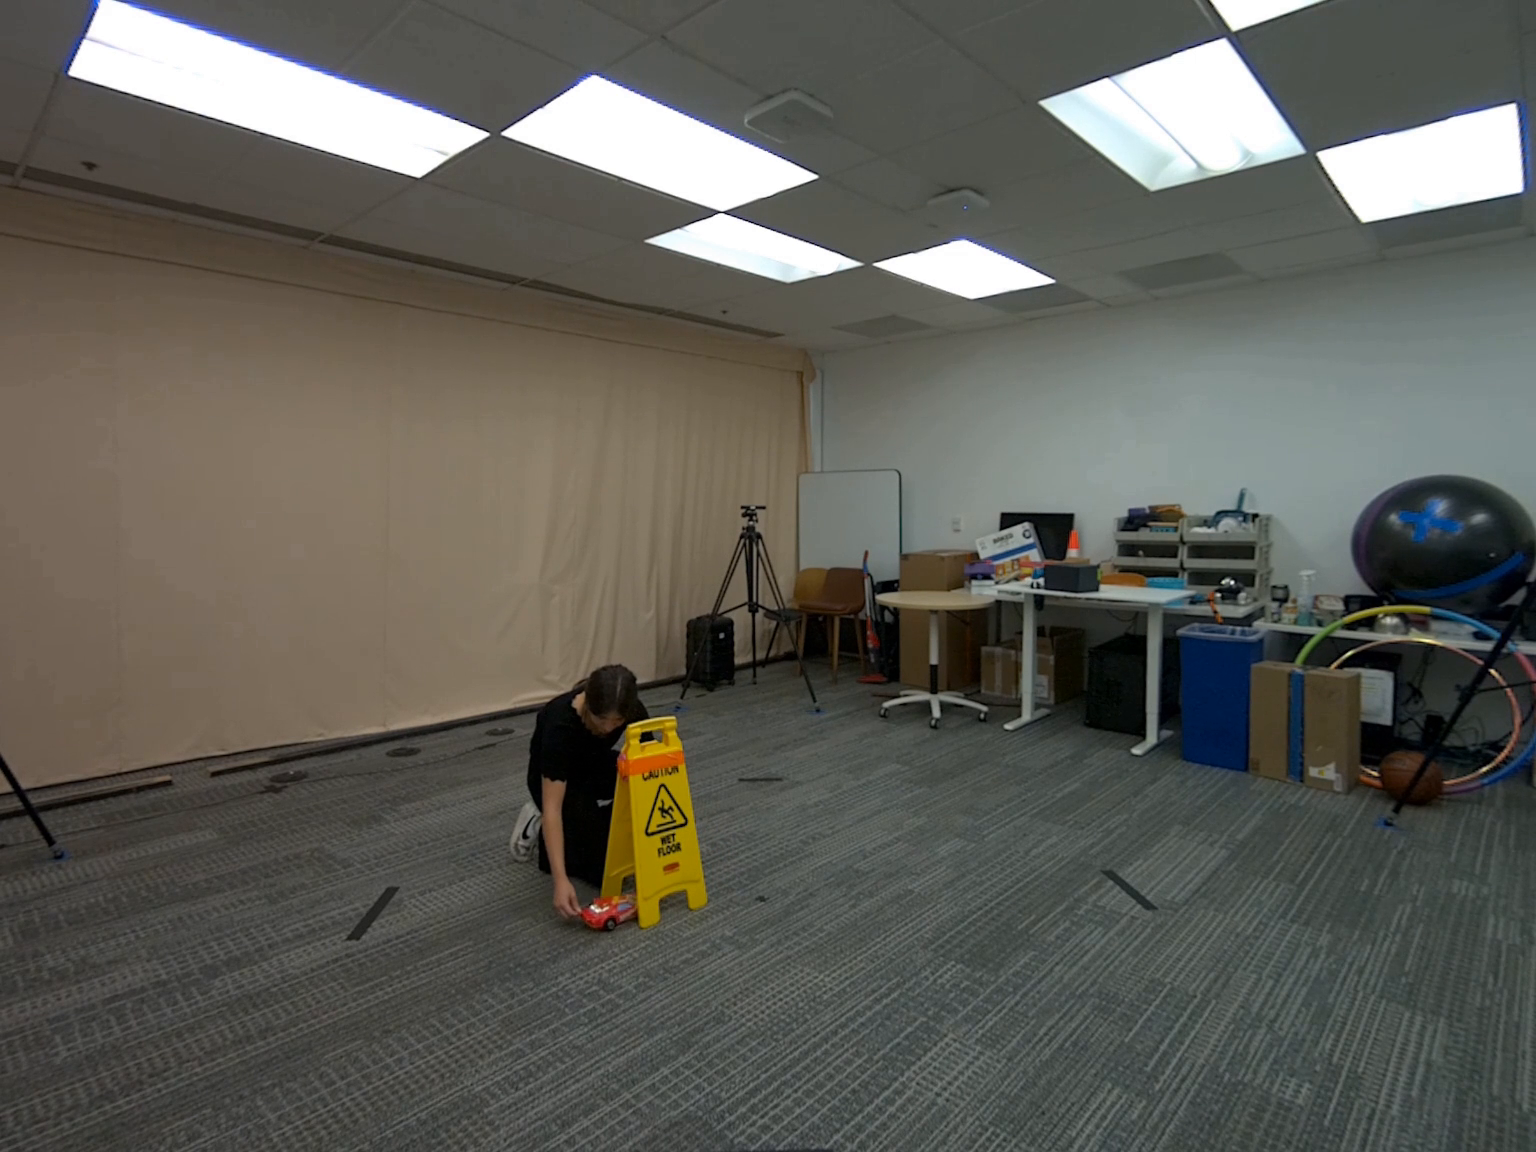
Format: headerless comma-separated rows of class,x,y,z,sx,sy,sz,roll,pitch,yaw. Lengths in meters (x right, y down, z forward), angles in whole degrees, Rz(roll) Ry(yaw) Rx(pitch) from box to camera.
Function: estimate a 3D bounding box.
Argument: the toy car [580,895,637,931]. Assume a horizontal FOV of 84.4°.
toy car,-0.515,1.130,2.845,0.246,0.083,0.134,8,-2,-38
